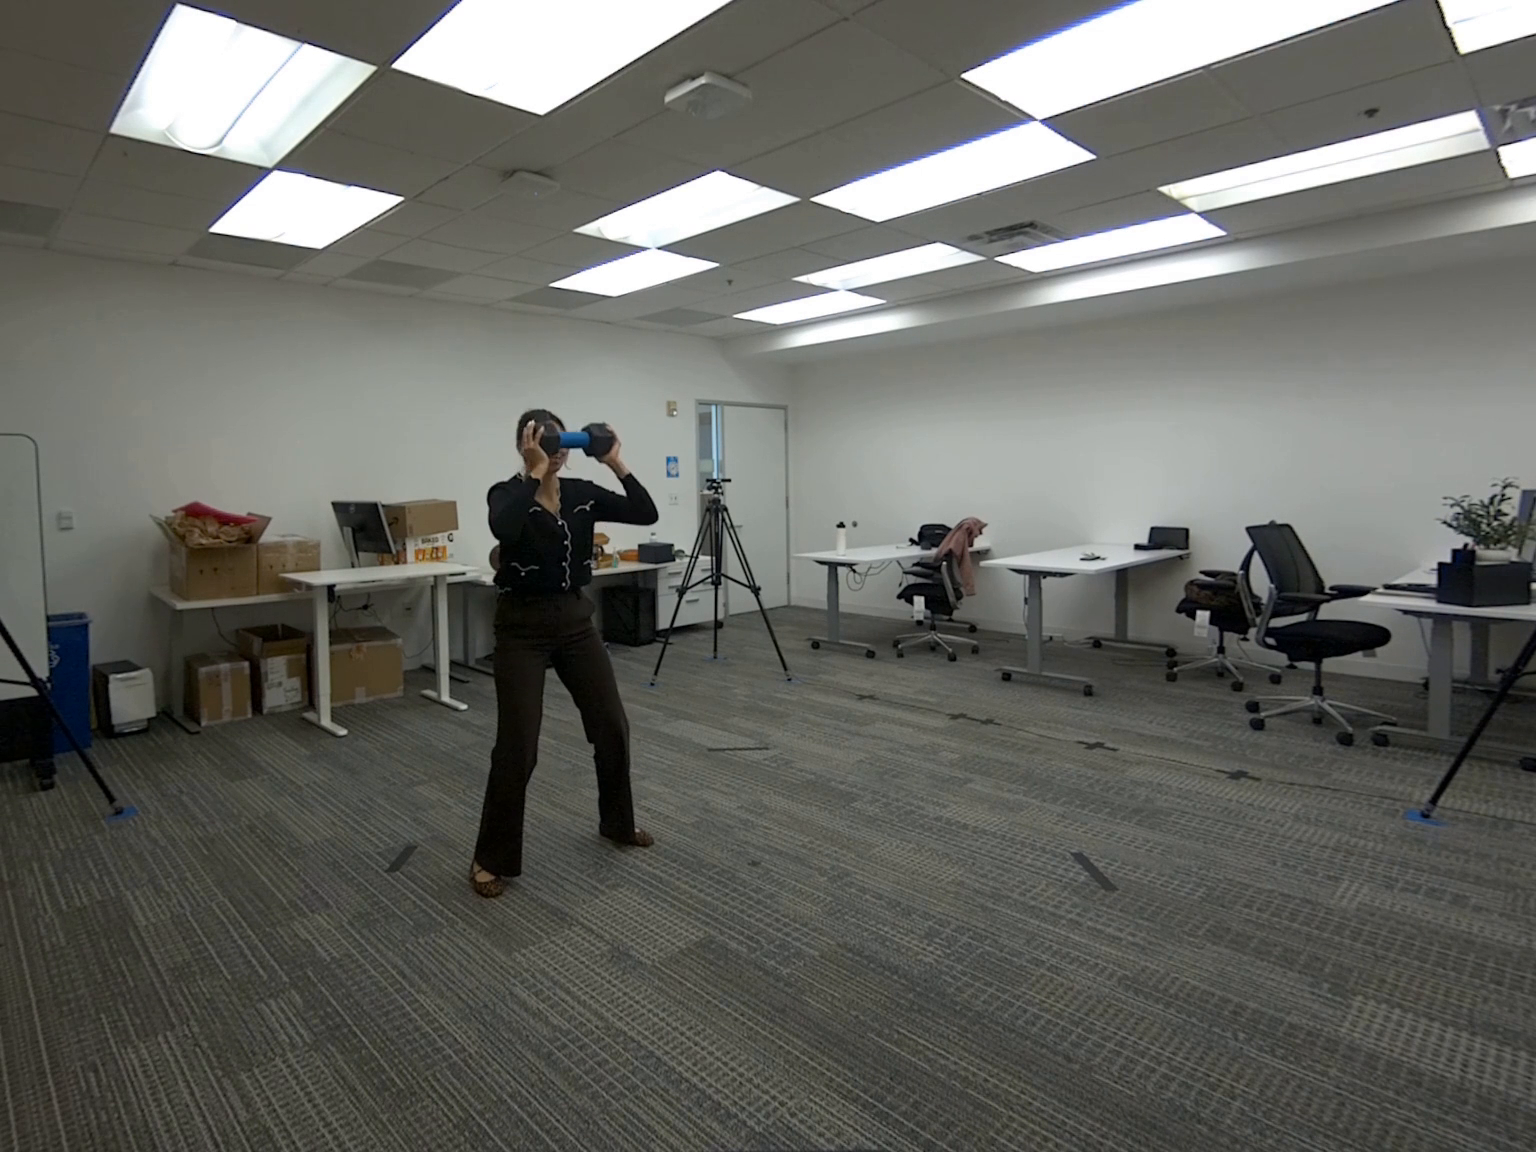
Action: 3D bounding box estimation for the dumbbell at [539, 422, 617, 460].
[{"bbox_3d":[-0.682,-0.460,2.922,0.286,0.127,0.108,-8,-38,-43],"label":"dumbbell"}]
